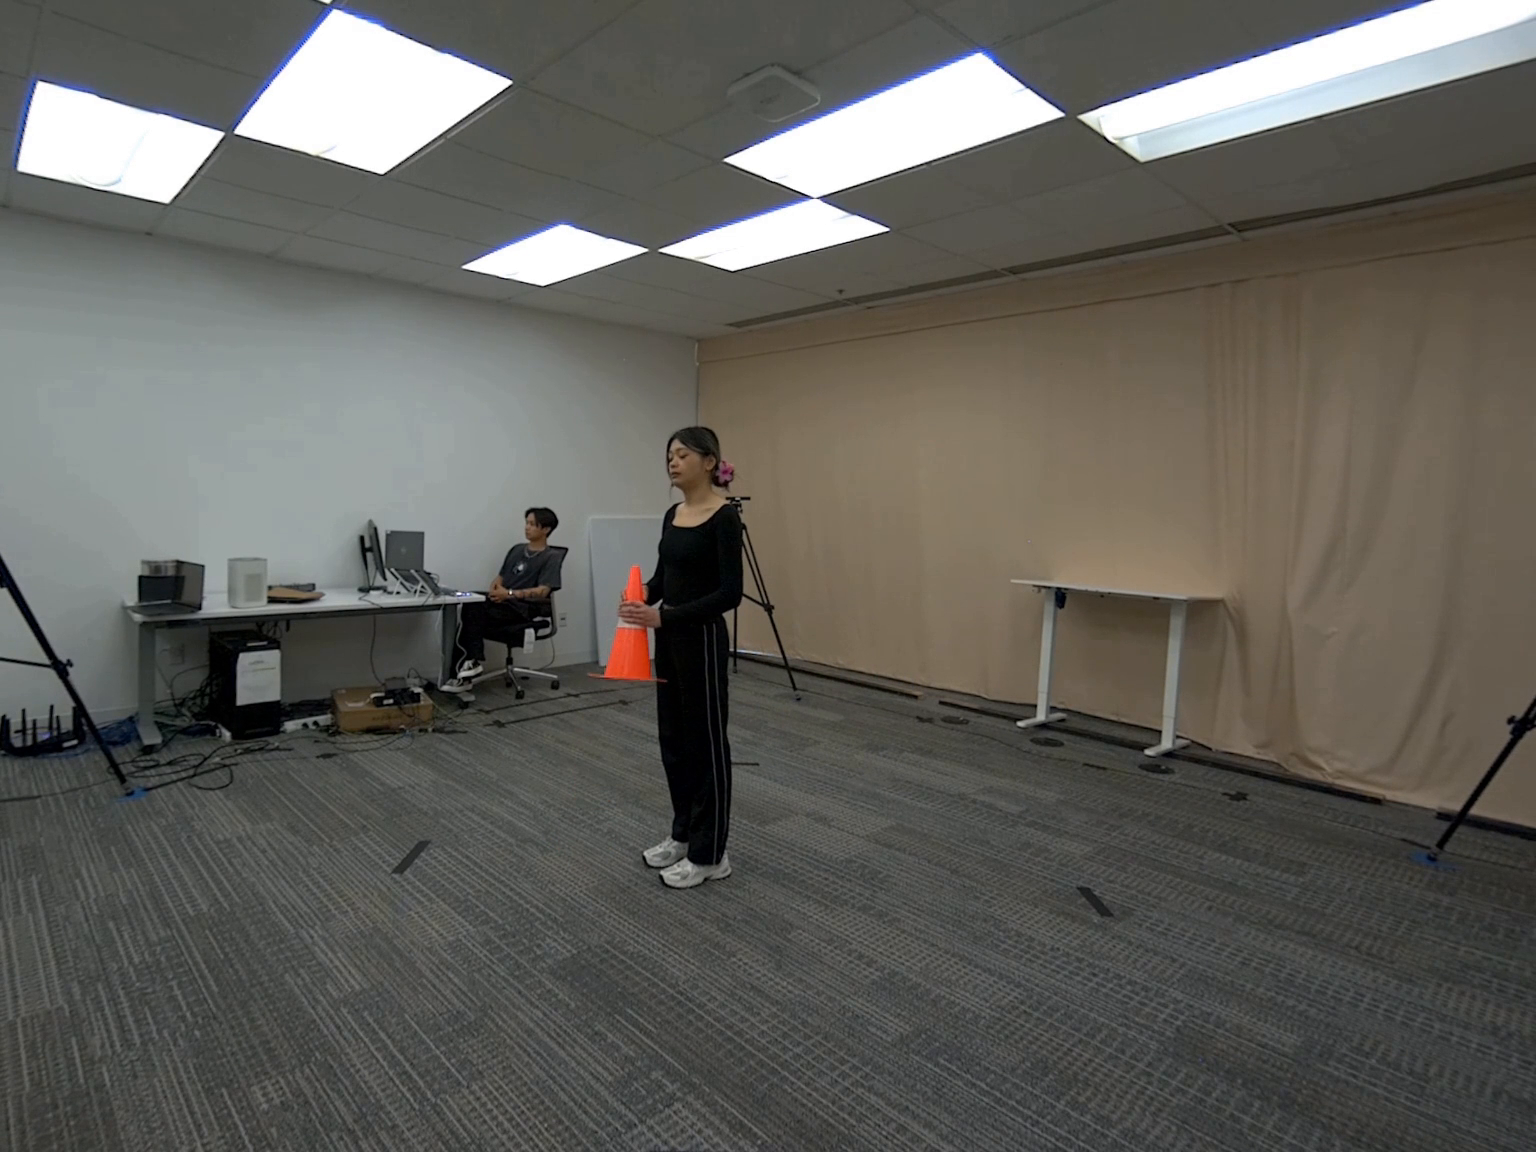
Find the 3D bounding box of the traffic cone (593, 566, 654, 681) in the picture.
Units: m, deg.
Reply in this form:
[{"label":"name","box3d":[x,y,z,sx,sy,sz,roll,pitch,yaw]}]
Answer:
[{"label":"traffic cone","box3d":[-0.469,0.161,2.863,0.209,0.386,0.197,-5,-14,40]}]
